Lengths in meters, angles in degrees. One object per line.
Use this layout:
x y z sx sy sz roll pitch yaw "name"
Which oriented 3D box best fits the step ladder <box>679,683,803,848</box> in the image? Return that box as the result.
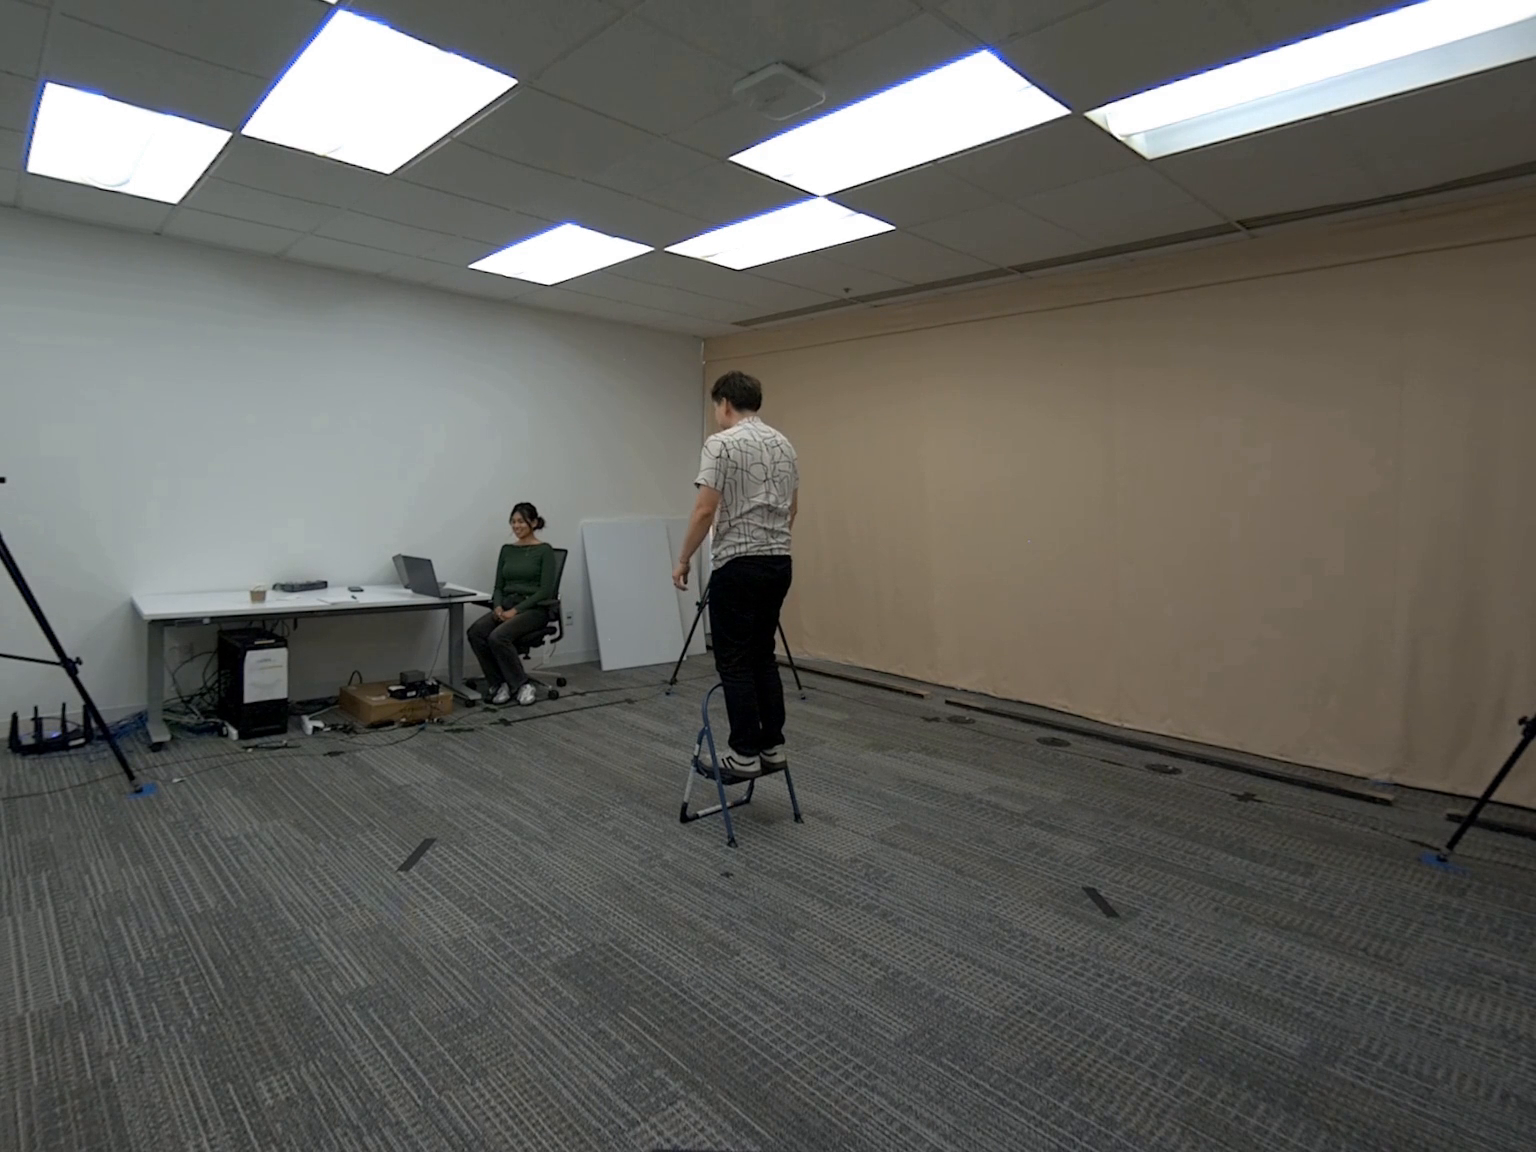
-0.117 0.753 3.603 0.358 0.605 0.421 4 4 44 "step ladder"
